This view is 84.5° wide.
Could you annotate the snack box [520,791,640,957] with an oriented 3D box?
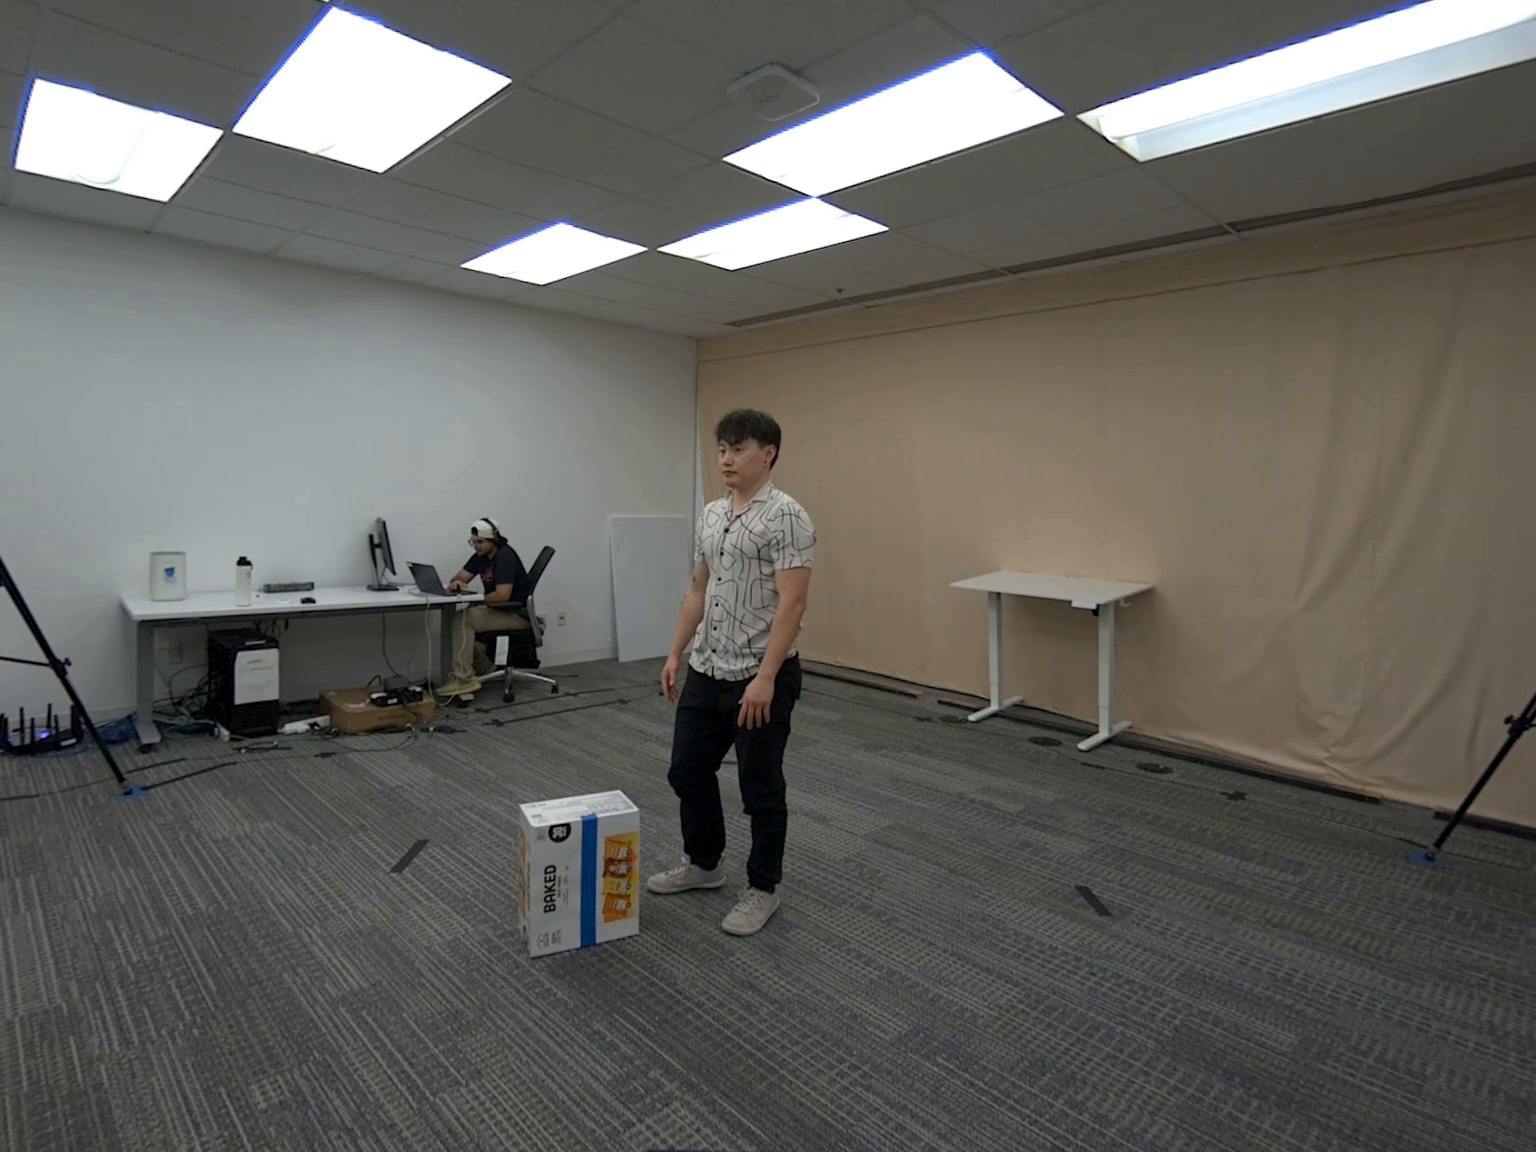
[{"bbox_3d":[-0.604,0.931,2.662,0.334,0.404,0.210,-1,4,-27],"label":"snack box"}]
